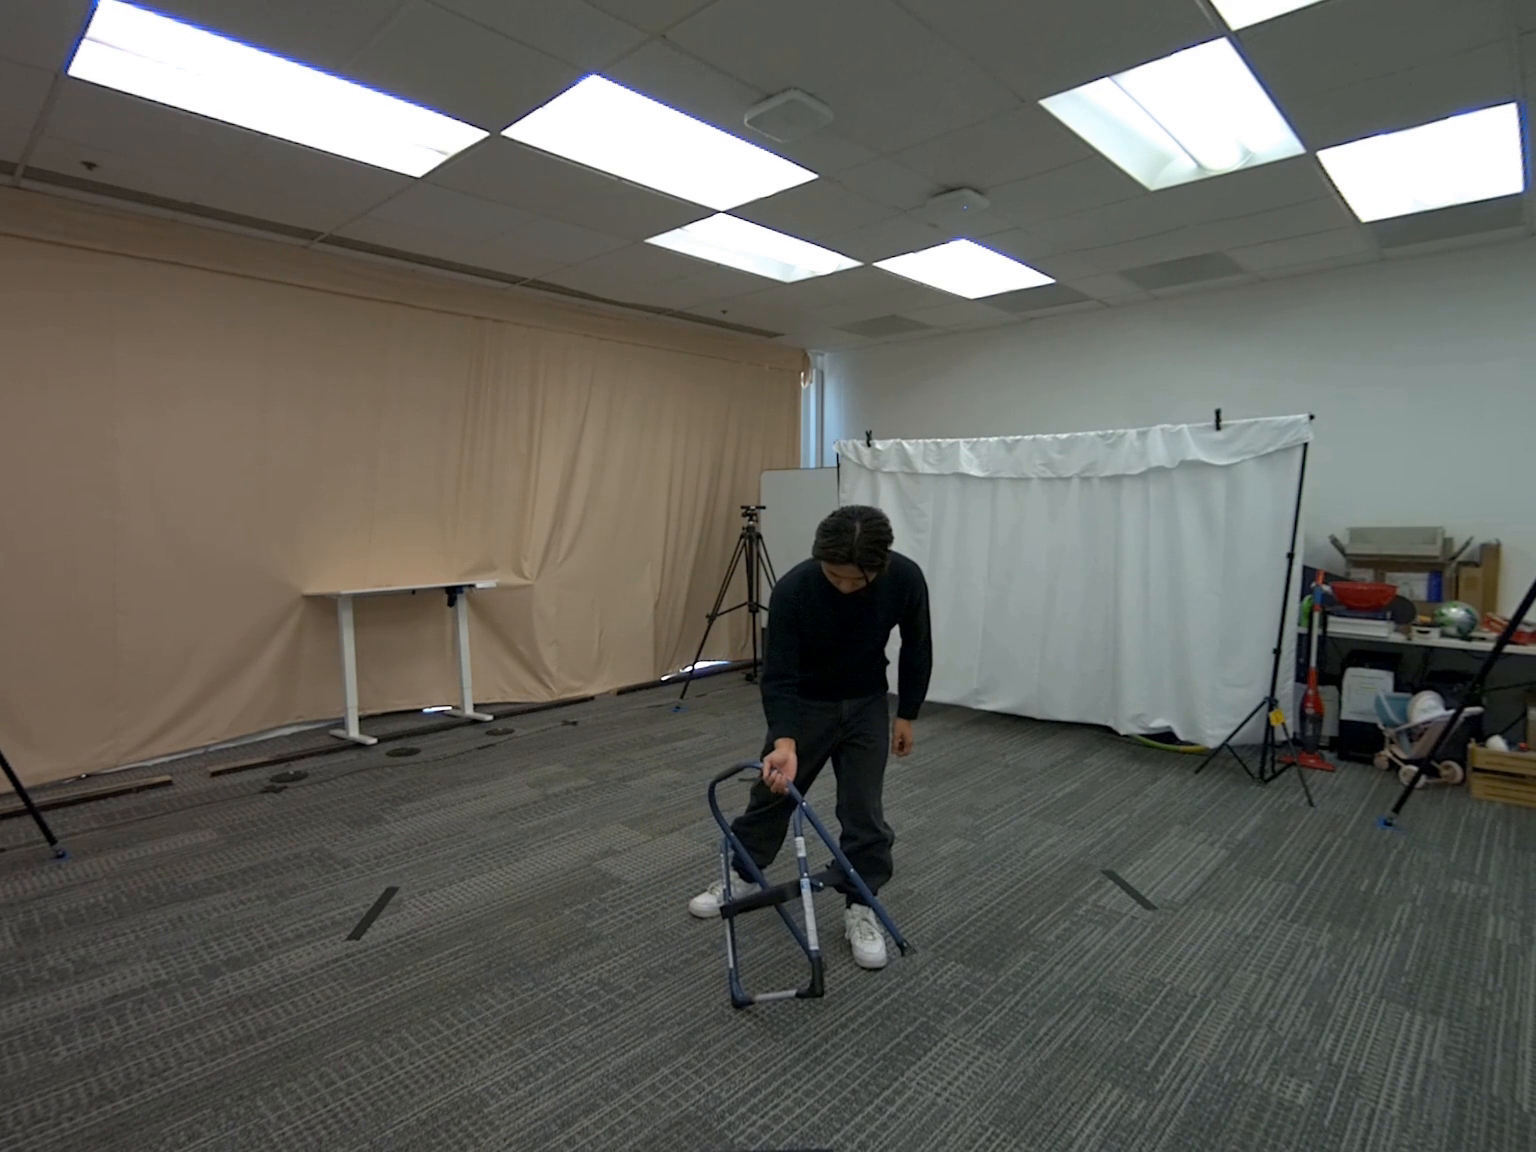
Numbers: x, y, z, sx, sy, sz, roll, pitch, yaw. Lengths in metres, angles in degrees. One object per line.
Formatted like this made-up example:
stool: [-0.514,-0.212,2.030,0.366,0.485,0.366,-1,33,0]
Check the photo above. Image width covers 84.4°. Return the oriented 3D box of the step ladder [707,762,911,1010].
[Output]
step ladder: [0.049,0.826,2.389,0.339,0.617,0.436,-2,-26,-39]
